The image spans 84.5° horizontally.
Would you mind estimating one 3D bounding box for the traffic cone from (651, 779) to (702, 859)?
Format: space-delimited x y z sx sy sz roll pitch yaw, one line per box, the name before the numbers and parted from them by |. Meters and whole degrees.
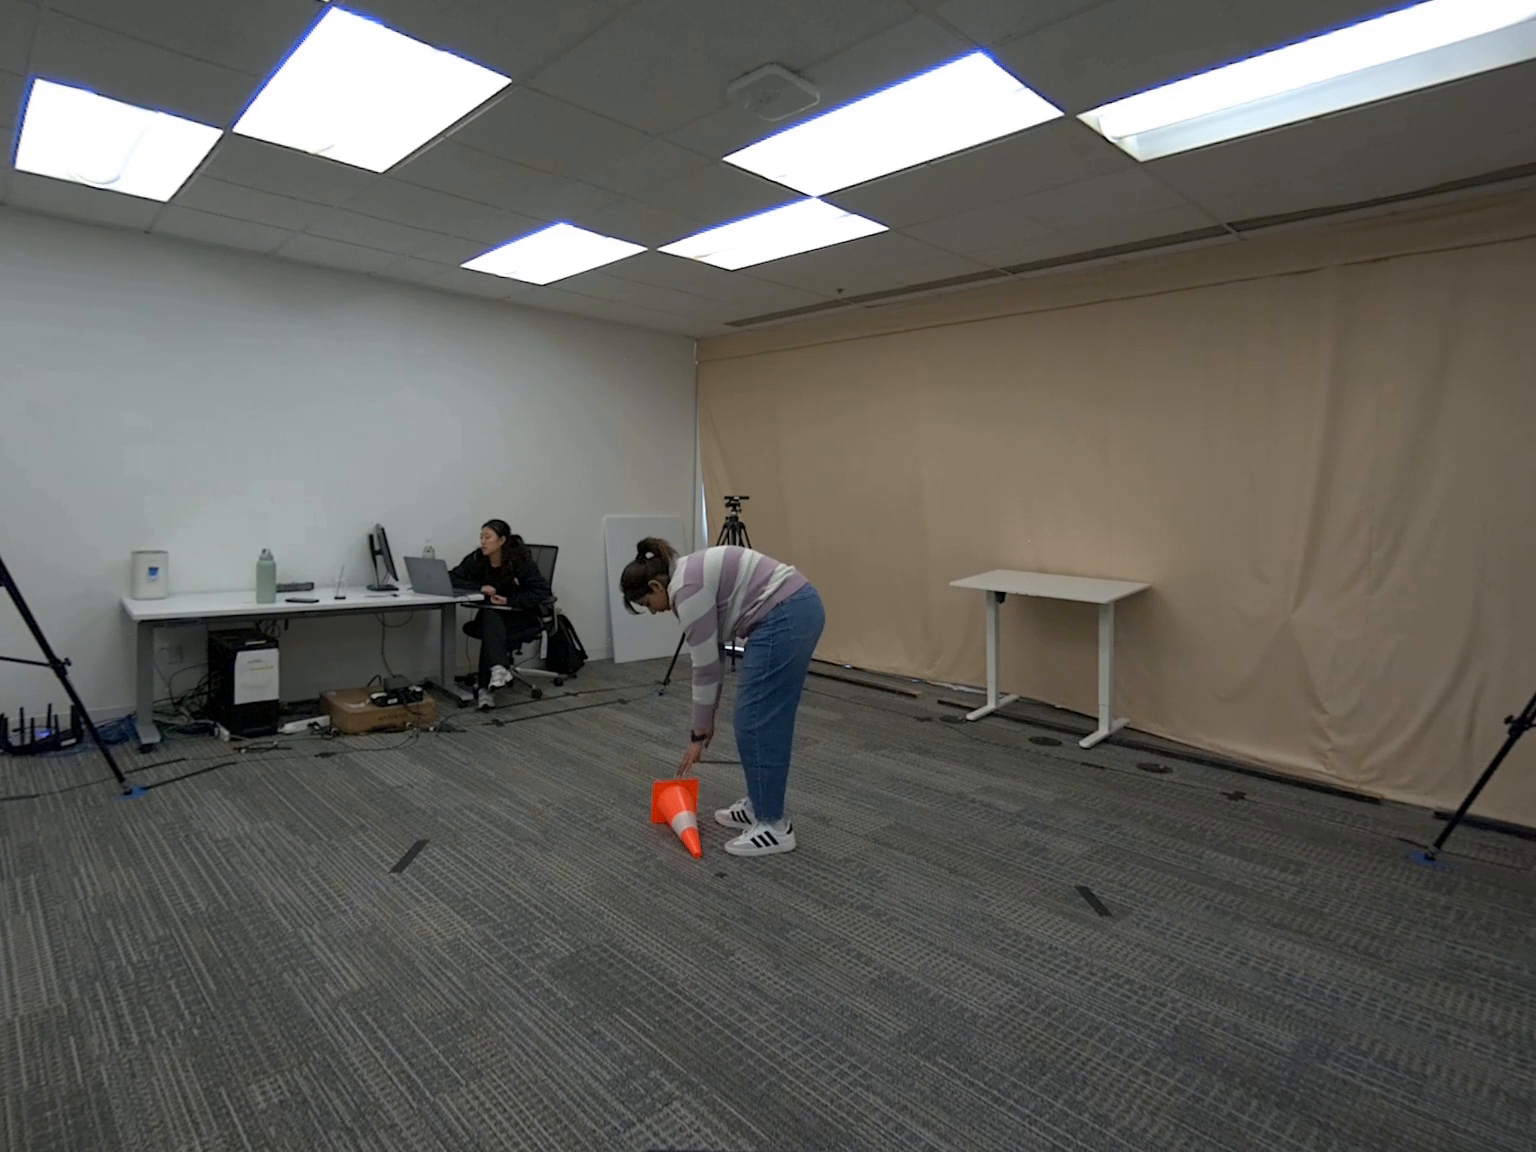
traffic cone | -0.339 1.016 3.414 0.200 0.203 0.393 0 17 -18
